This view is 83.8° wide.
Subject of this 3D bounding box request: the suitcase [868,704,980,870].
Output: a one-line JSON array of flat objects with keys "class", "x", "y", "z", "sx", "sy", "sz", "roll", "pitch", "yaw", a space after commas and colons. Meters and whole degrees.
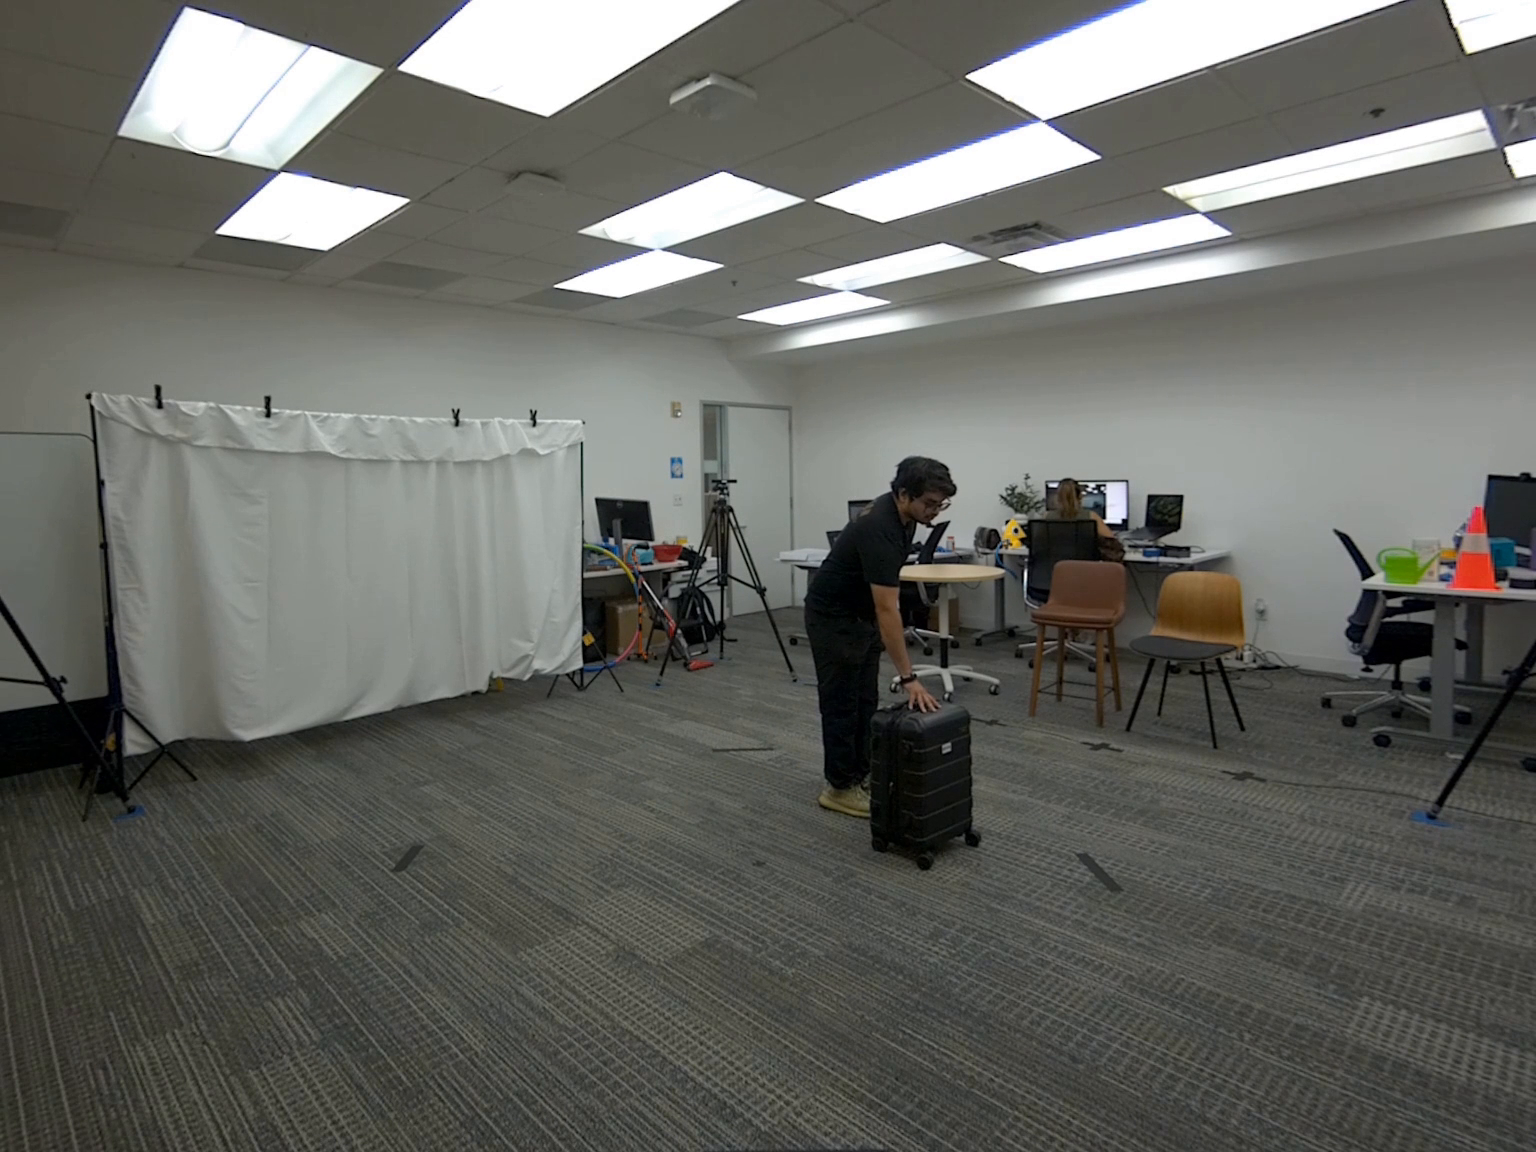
[{"class": "suitcase", "x": 0.585, "y": 0.752, "z": 3.219, "sx": 0.365, "sy": 0.548, "sz": 0.256, "roll": -5, "pitch": 4, "yaw": -41}]
